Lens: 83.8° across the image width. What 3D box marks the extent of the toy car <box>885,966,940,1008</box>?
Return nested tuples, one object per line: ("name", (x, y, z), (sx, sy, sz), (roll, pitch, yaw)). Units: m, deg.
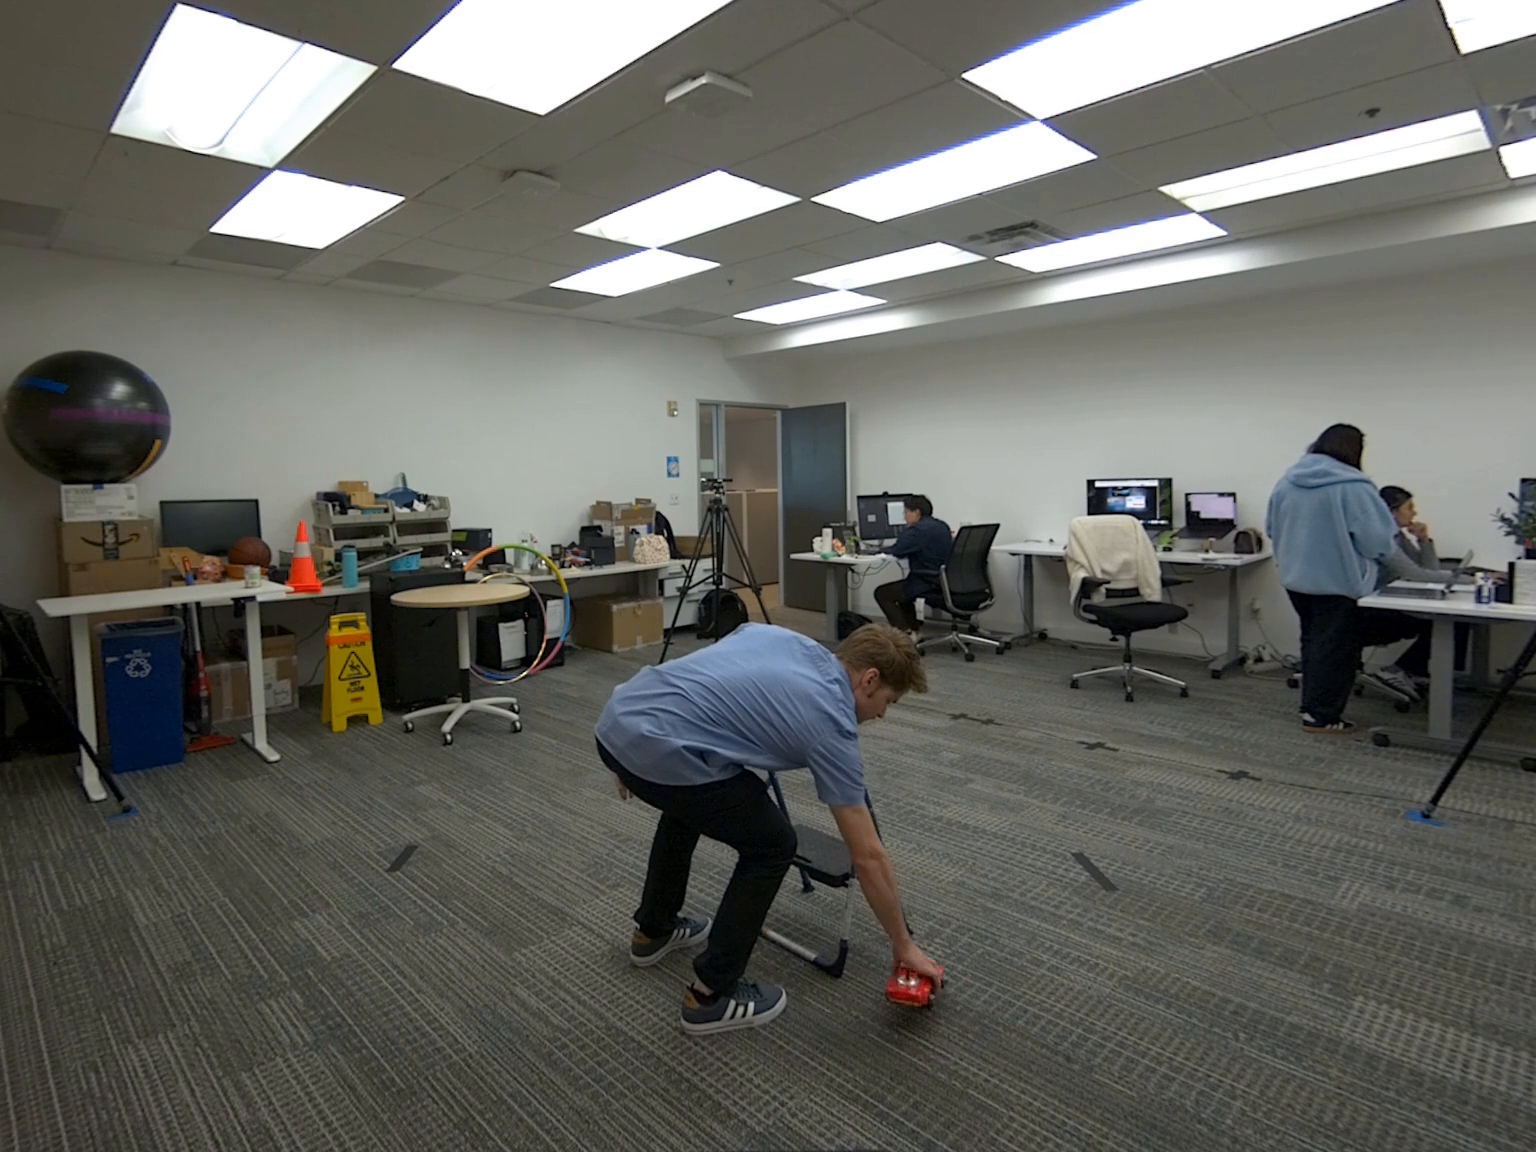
("toy car", (0.379, 1.060, 2.220), (0.133, 0.084, 0.246), (-1, -15, 26))
